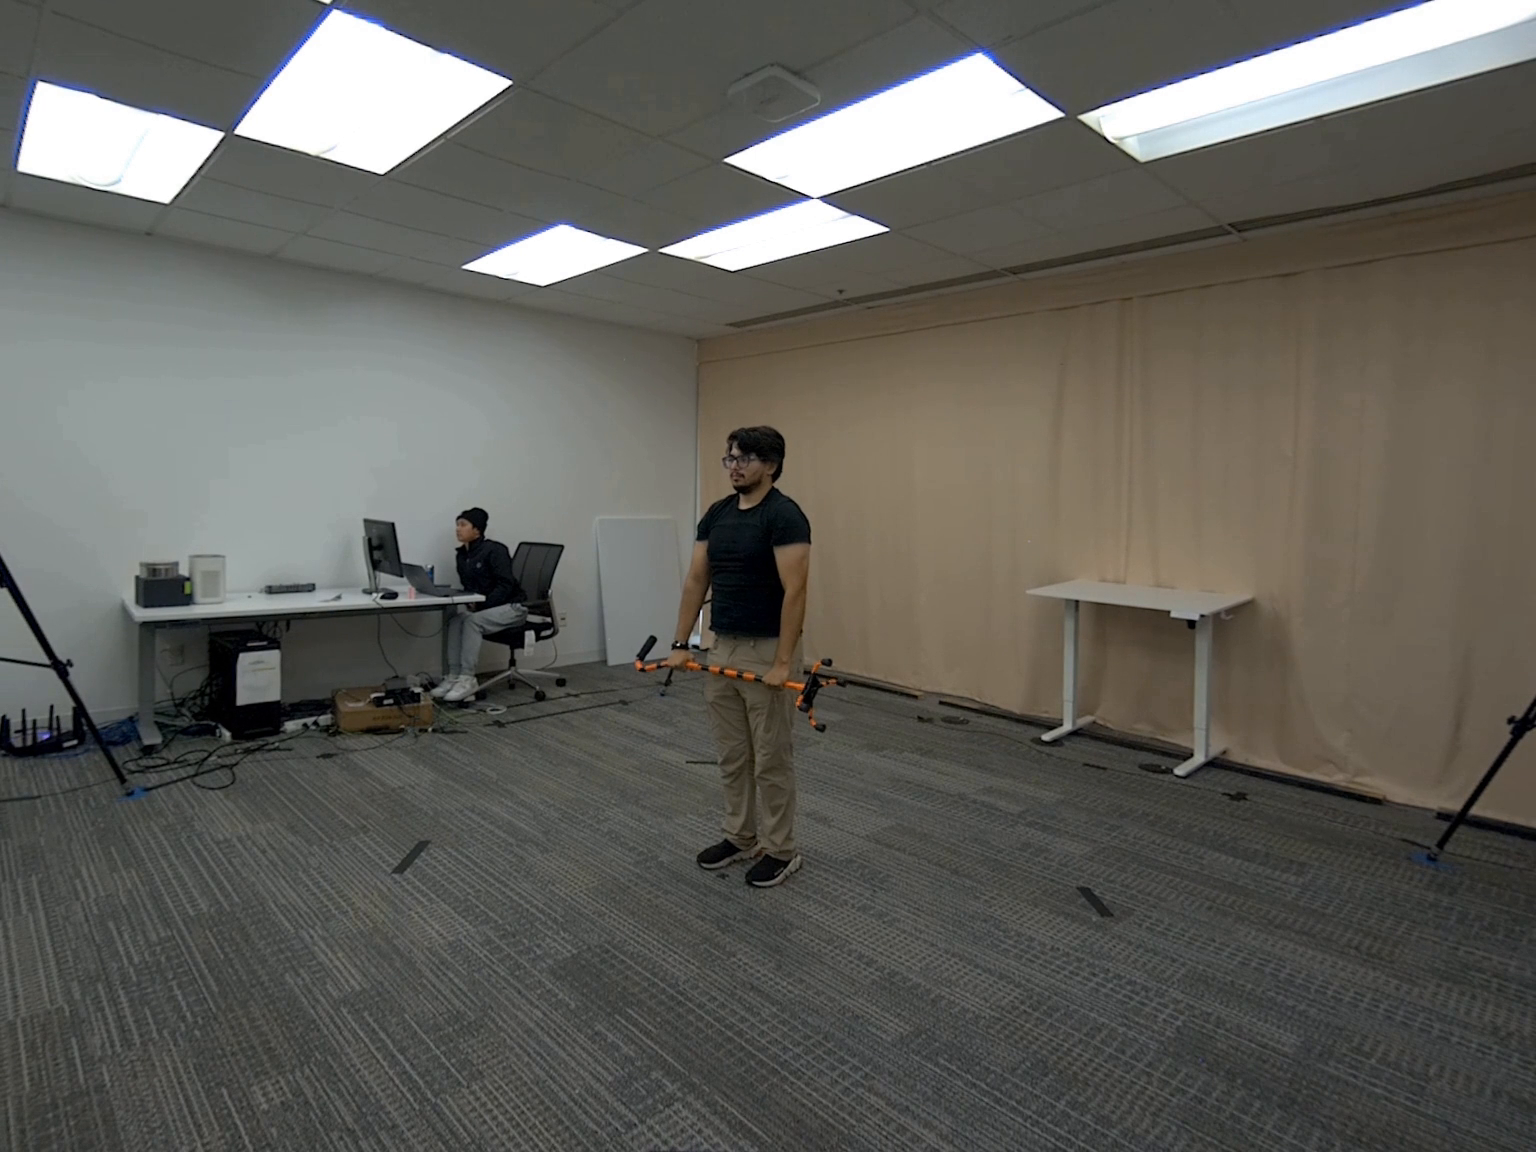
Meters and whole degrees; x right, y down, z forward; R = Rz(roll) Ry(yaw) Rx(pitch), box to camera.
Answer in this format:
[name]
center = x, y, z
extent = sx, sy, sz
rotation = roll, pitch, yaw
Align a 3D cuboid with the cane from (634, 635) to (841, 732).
[cane]
center = -0.180, 0.361, 3.051
extent = 0.931, 0.207, 0.147
rotation = 5, -37, 41
